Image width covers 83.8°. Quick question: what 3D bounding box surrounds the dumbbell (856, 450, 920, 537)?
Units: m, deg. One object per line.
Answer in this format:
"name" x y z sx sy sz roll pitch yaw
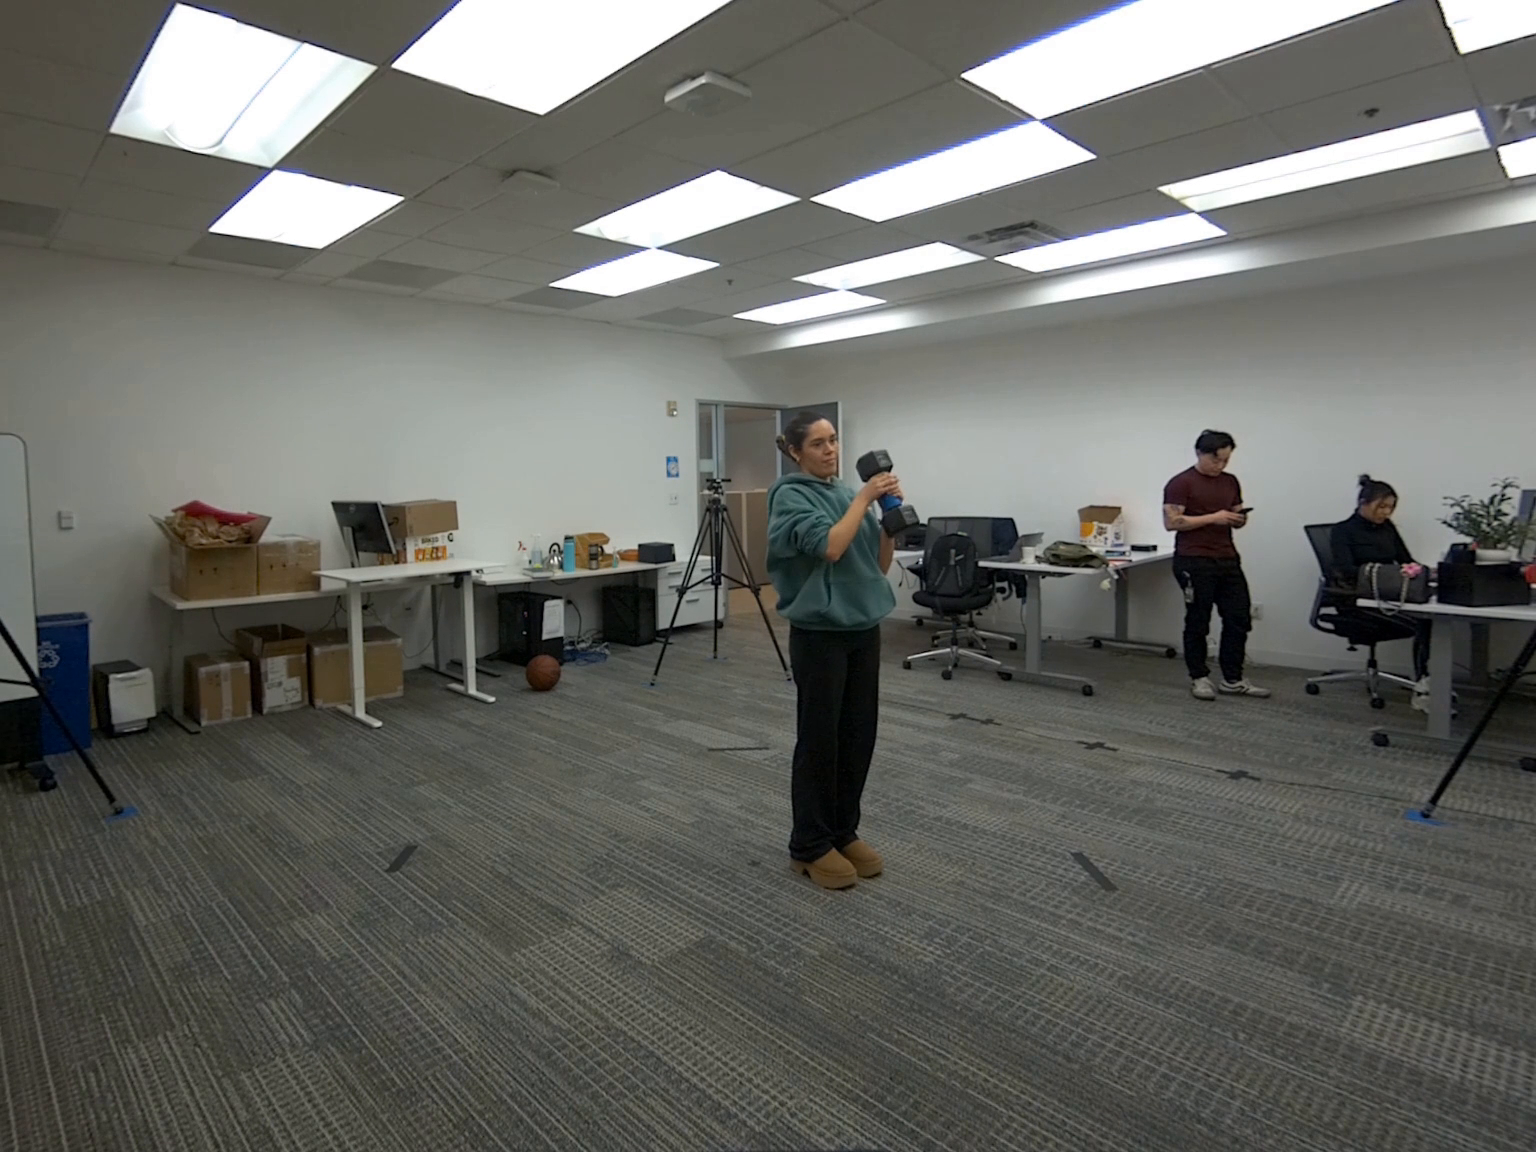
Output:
"dumbbell" 0.393 -0.277 2.886 0.124 0.300 0.105 -31 -19 24
